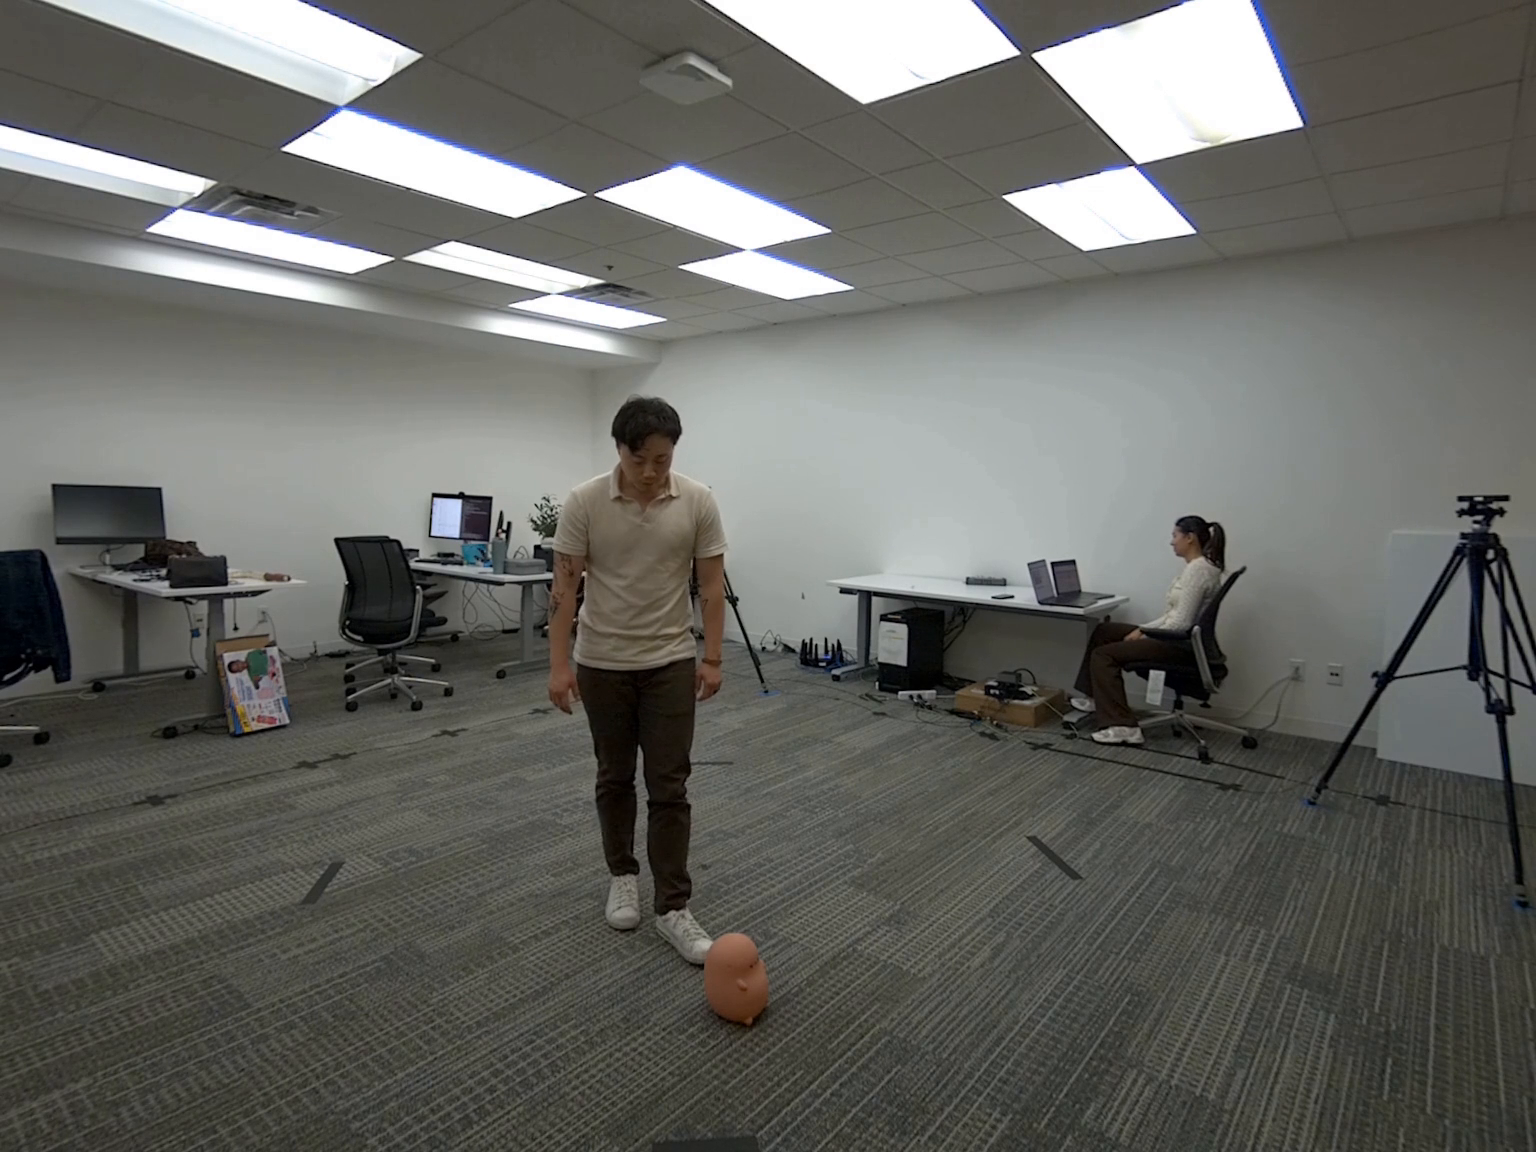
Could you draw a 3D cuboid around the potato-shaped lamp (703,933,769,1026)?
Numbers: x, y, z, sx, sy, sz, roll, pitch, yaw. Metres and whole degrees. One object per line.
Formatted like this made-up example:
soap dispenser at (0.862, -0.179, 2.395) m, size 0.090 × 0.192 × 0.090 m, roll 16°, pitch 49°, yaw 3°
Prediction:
potato-shaped lamp at (-0.090, 1.056, 2.262) m, size 0.177 × 0.197 × 0.160 m, roll 7°, pitch 6°, yaw 32°
